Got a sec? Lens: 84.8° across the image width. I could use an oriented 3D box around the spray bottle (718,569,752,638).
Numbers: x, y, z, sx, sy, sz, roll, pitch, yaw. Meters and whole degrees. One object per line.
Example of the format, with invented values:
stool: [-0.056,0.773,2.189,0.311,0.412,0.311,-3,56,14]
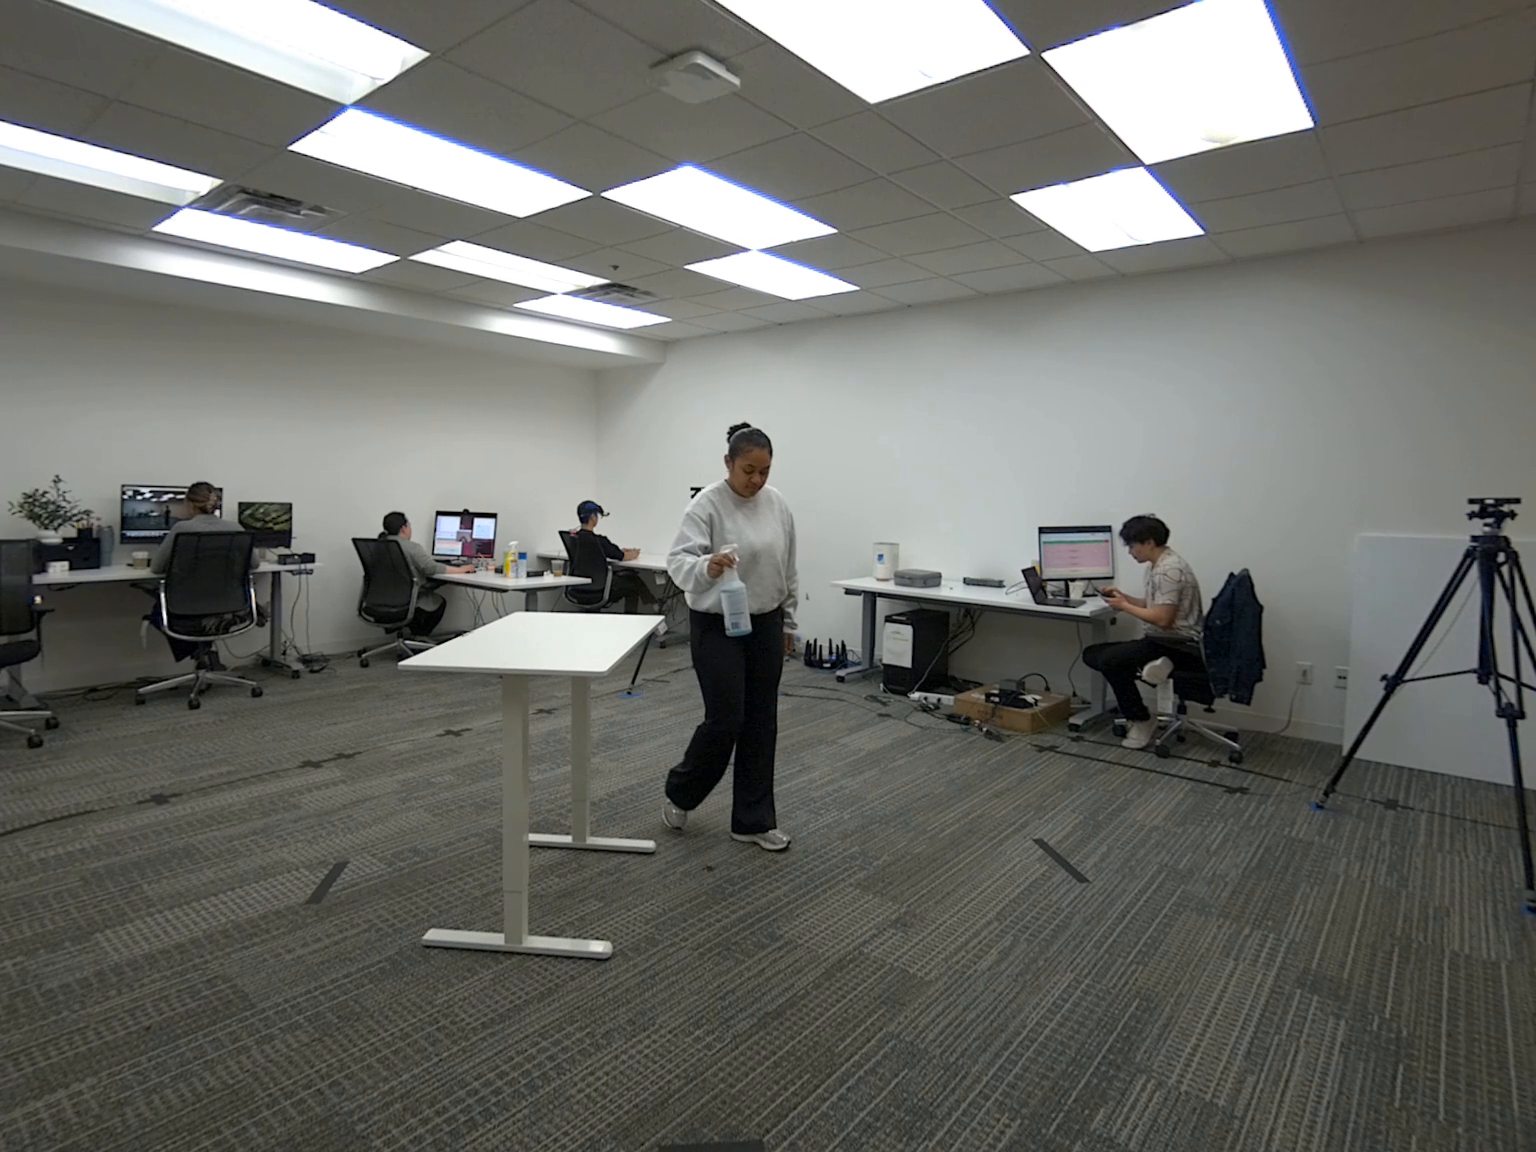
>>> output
spray bottle: [-0.133,0.046,2.796,0.086,0.296,0.091,-10,5,-12]
